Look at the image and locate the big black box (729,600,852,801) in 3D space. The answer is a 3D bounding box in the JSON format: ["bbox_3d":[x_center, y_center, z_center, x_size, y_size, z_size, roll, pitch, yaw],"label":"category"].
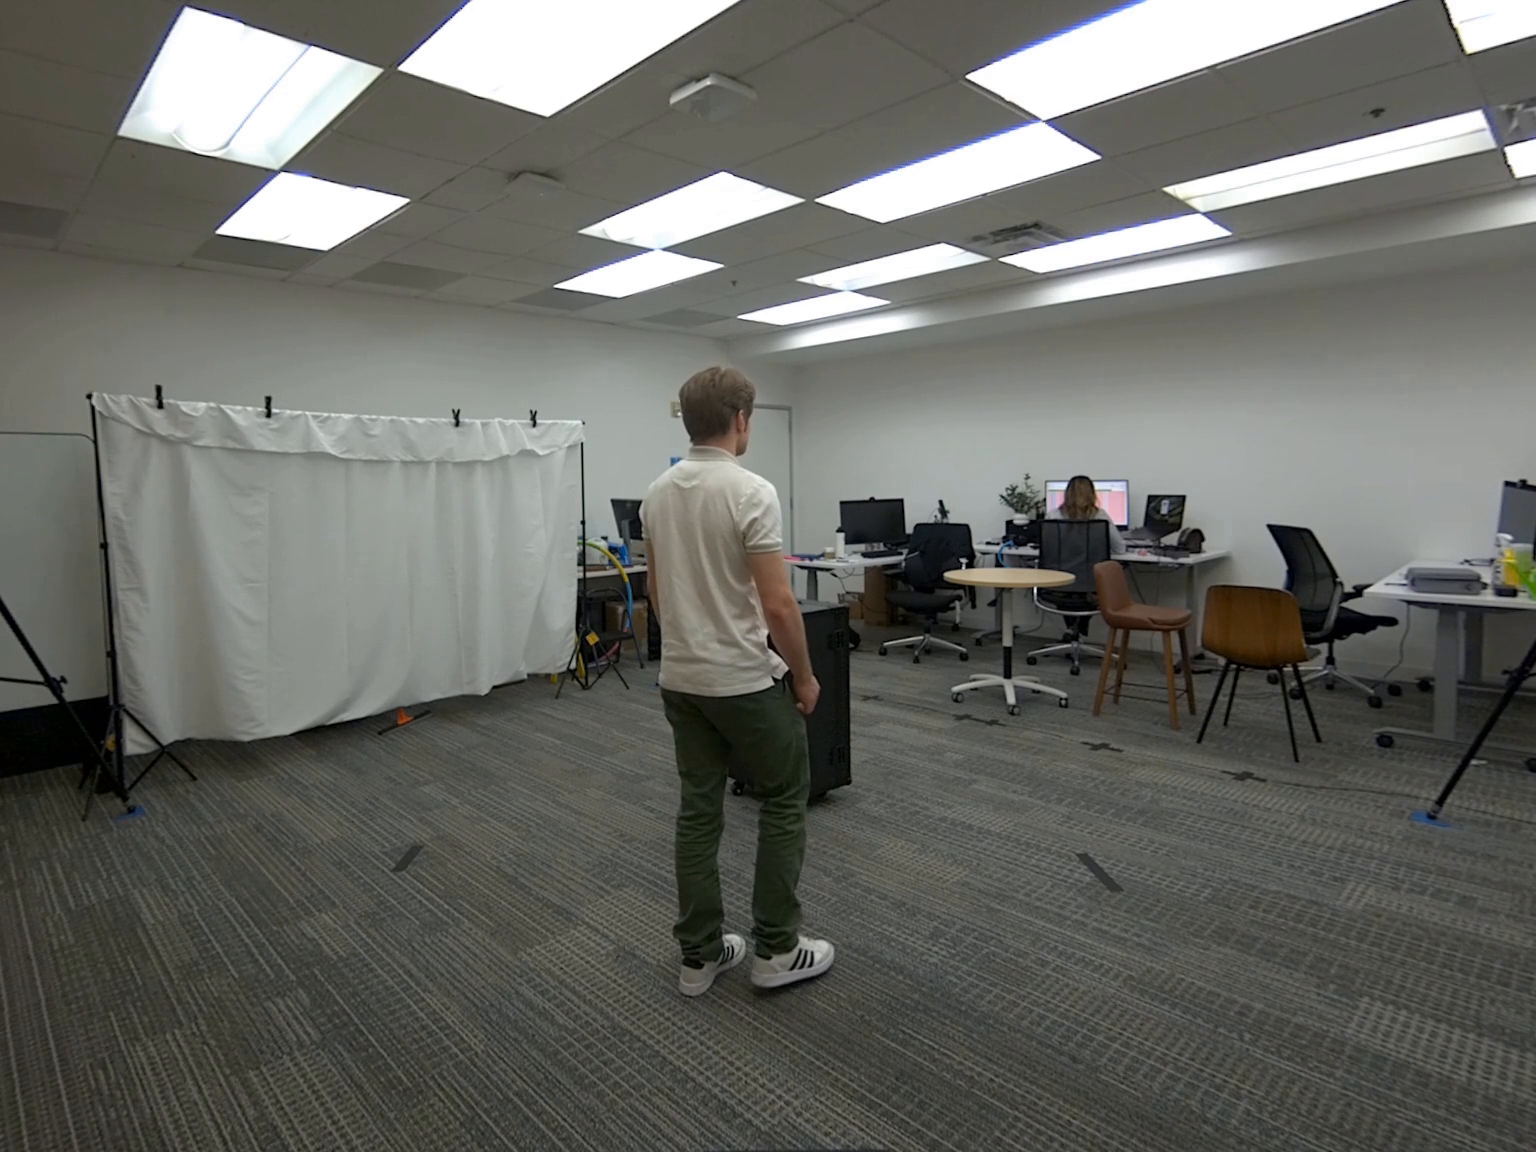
[{"bbox_3d":[0.073,0.552,3.765,0.375,0.865,0.539,-5,6,-41],"label":"big black box"}]
